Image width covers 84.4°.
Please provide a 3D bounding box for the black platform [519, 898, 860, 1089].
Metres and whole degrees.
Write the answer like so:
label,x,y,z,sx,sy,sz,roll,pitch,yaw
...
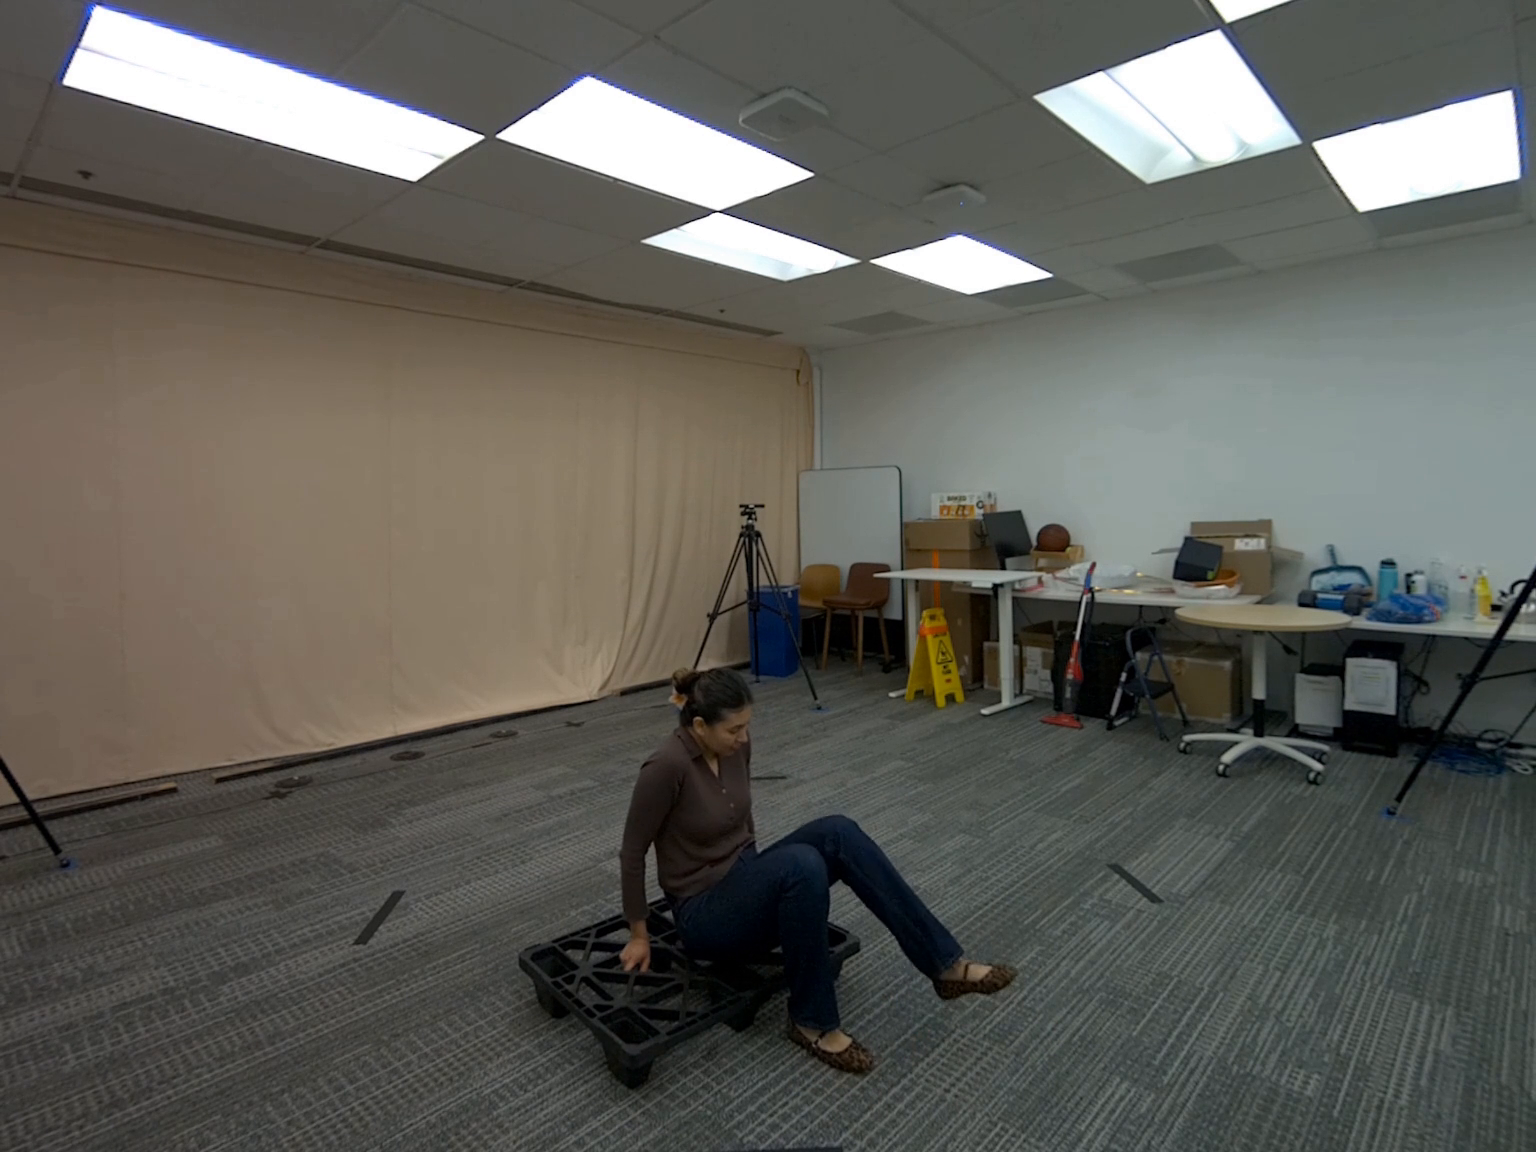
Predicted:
label,x,y,z,sx,sy,sz,roll,pitch,yaw
black platform,-0.222,1.128,2.417,0.781,0.143,0.625,-5,6,-40
